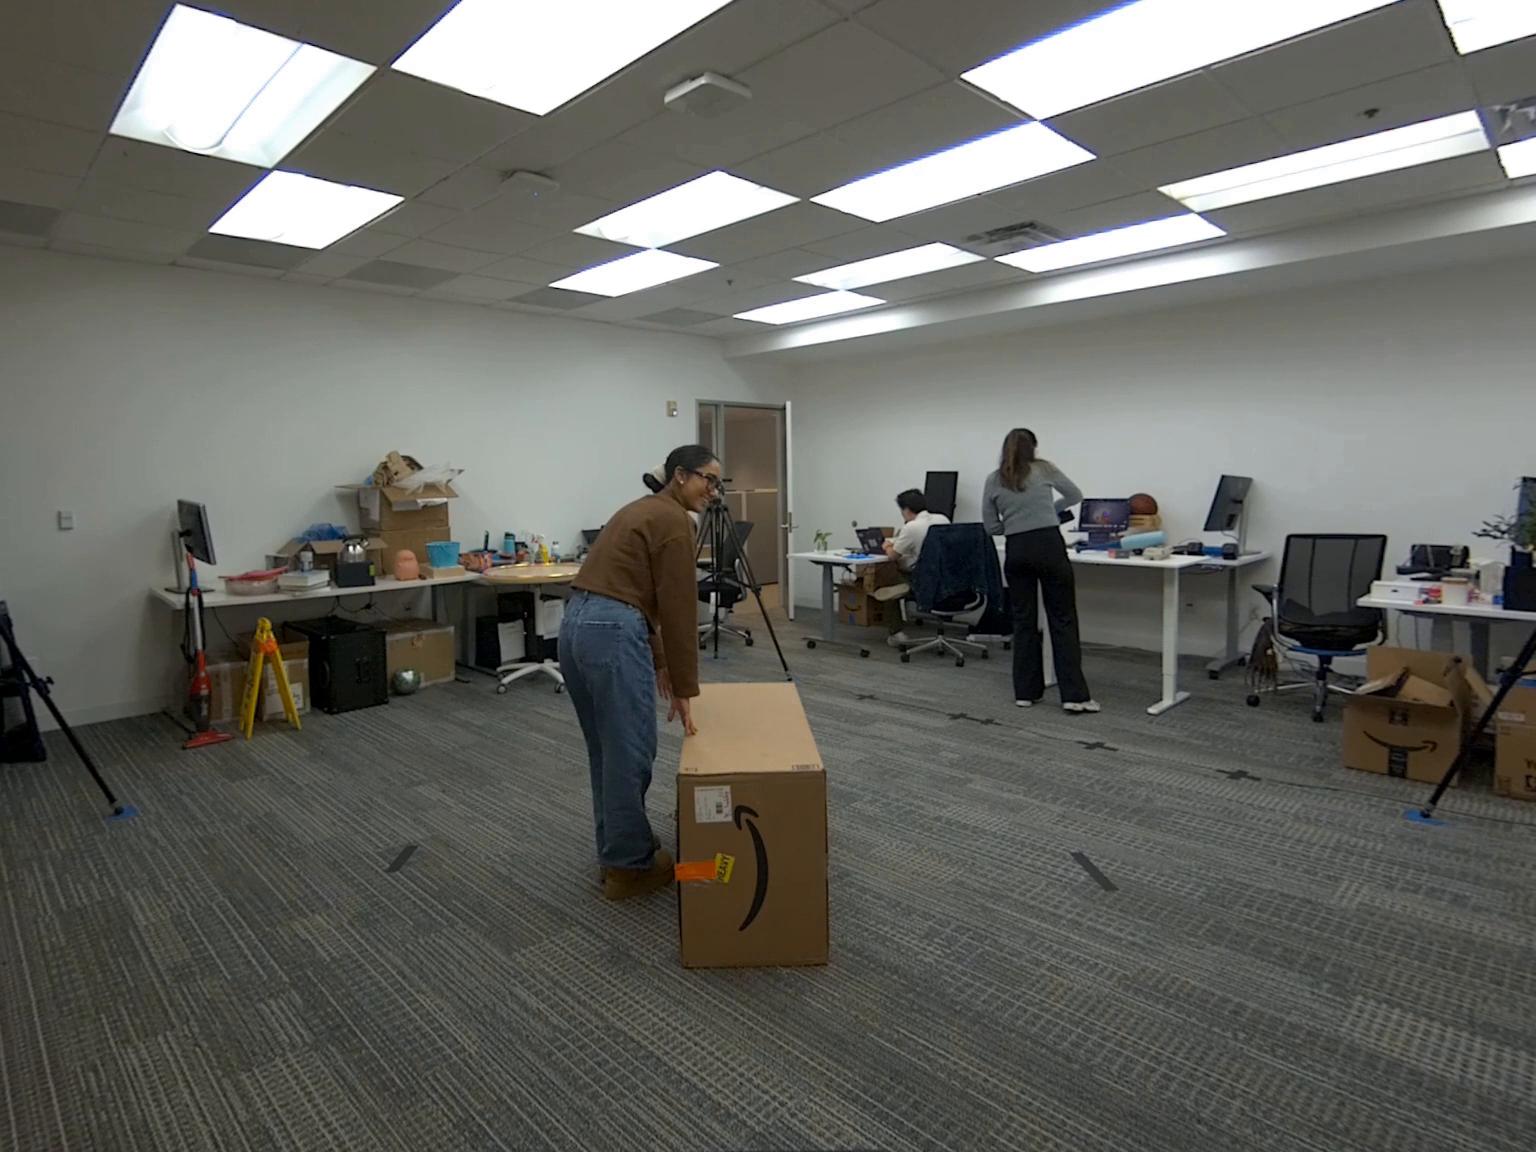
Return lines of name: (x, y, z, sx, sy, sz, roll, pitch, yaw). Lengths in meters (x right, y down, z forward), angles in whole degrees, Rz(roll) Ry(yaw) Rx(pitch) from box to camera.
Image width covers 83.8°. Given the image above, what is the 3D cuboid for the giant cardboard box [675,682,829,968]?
giant cardboard box: (-0.068, 0.779, 2.938, 0.446, 0.581, 1.032, 0, 6, -2)
